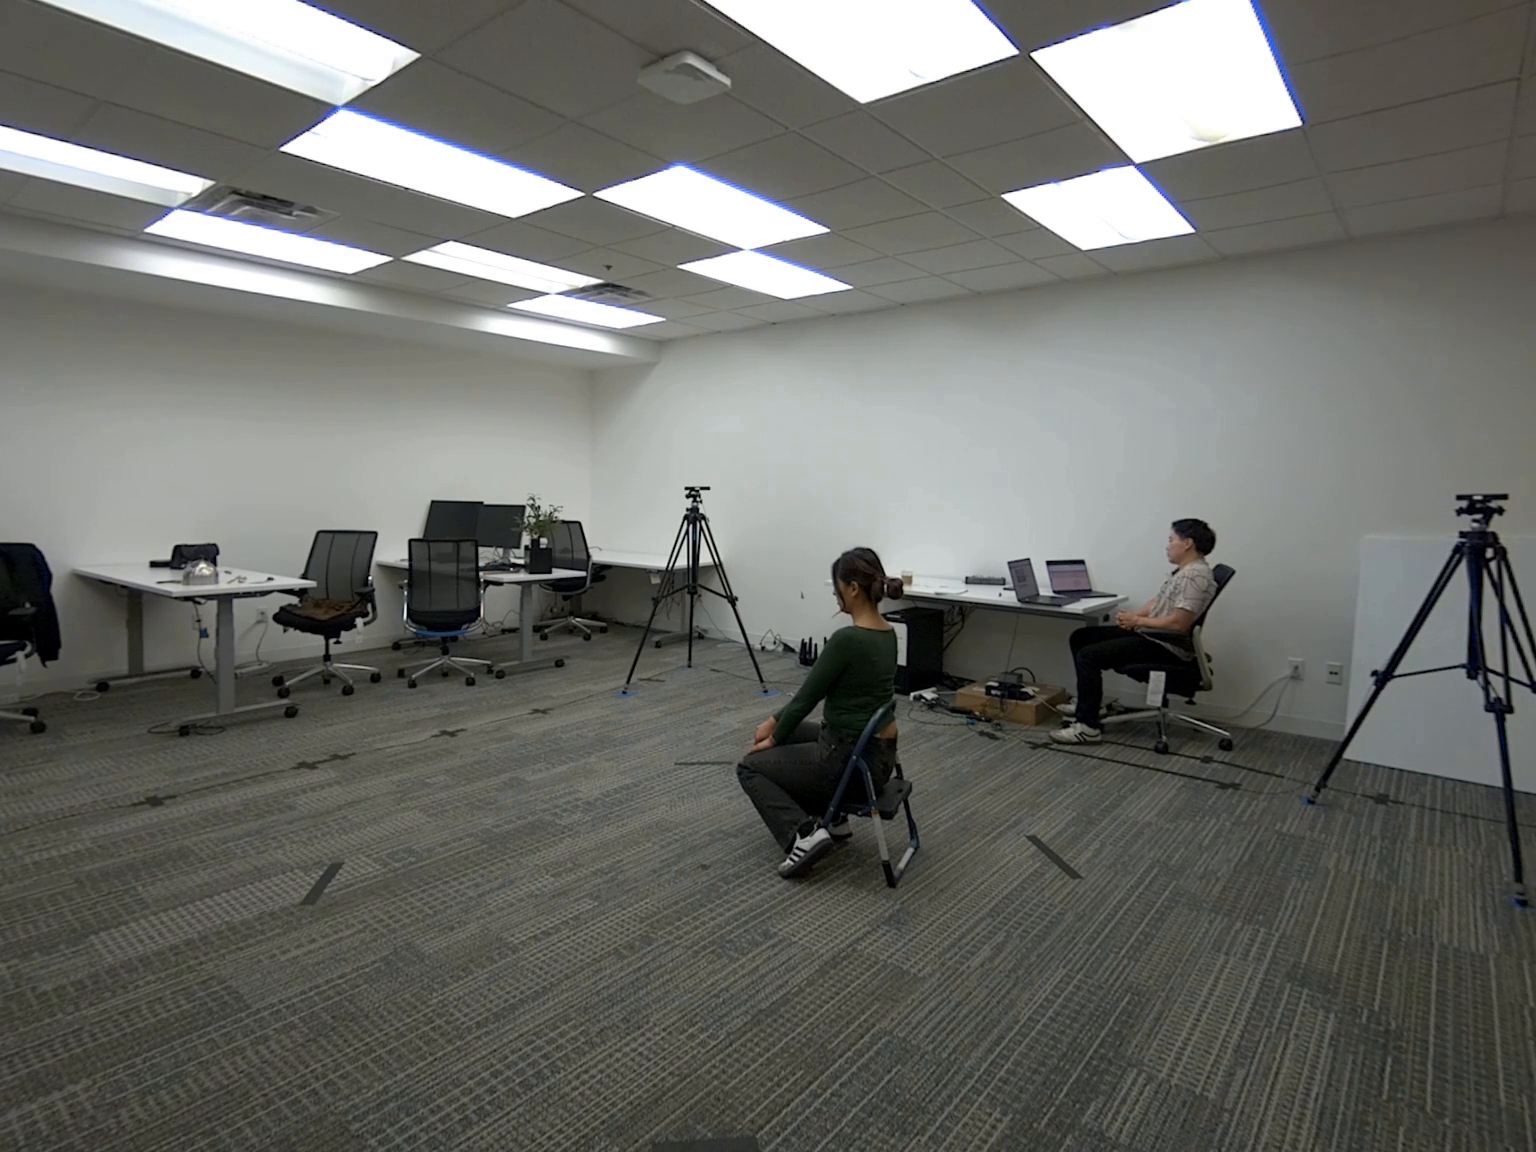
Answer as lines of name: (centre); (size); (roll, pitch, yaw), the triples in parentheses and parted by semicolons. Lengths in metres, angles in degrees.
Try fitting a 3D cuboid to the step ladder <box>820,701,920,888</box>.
step ladder: (0.365, 0.771, 3.213); (0.358, 0.604, 0.421); (3, 4, 23)
